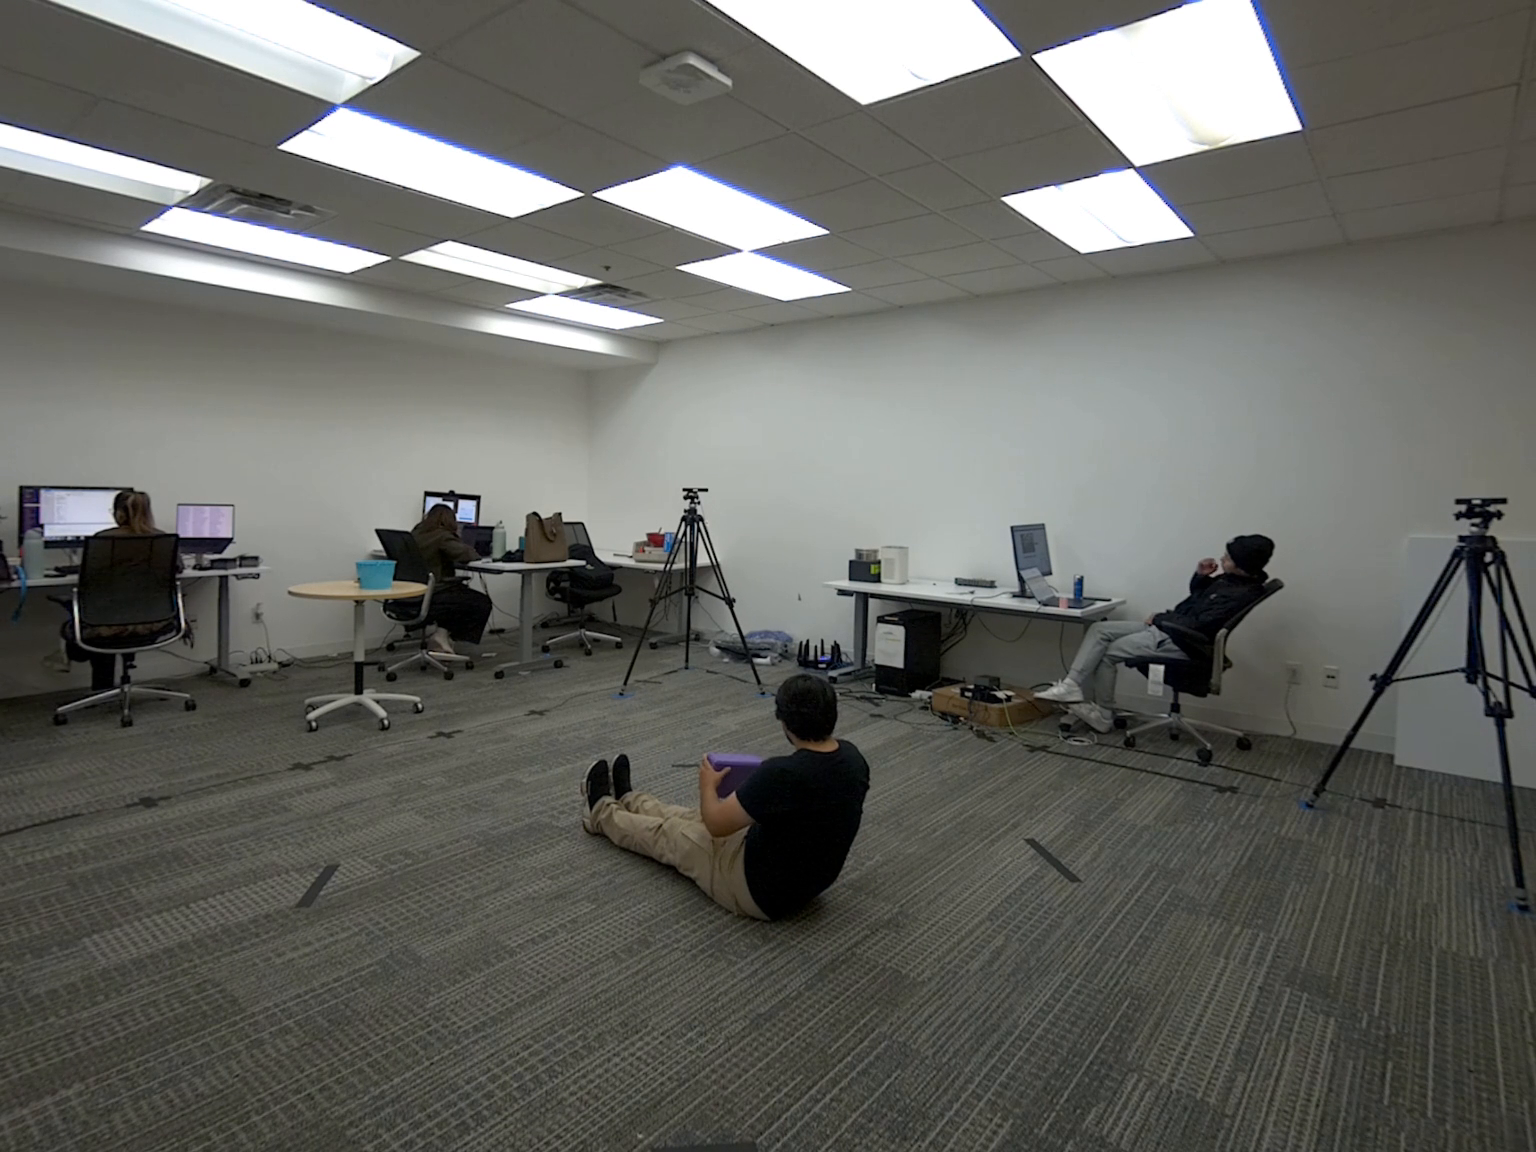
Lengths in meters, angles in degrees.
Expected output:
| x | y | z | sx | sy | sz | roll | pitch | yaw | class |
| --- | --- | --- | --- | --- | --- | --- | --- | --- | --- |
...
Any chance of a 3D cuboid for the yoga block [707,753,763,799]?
| x | y | z | sx | sy | sz | roll | pitch | yaw | class |
| --- | --- | --- | --- | --- | --- | --- | --- | --- | --- |
| -0.131 | 0.736 | 3.131 | 0.222 | 0.148 | 0.079 | 9 | 8 | -29 | yoga block |
